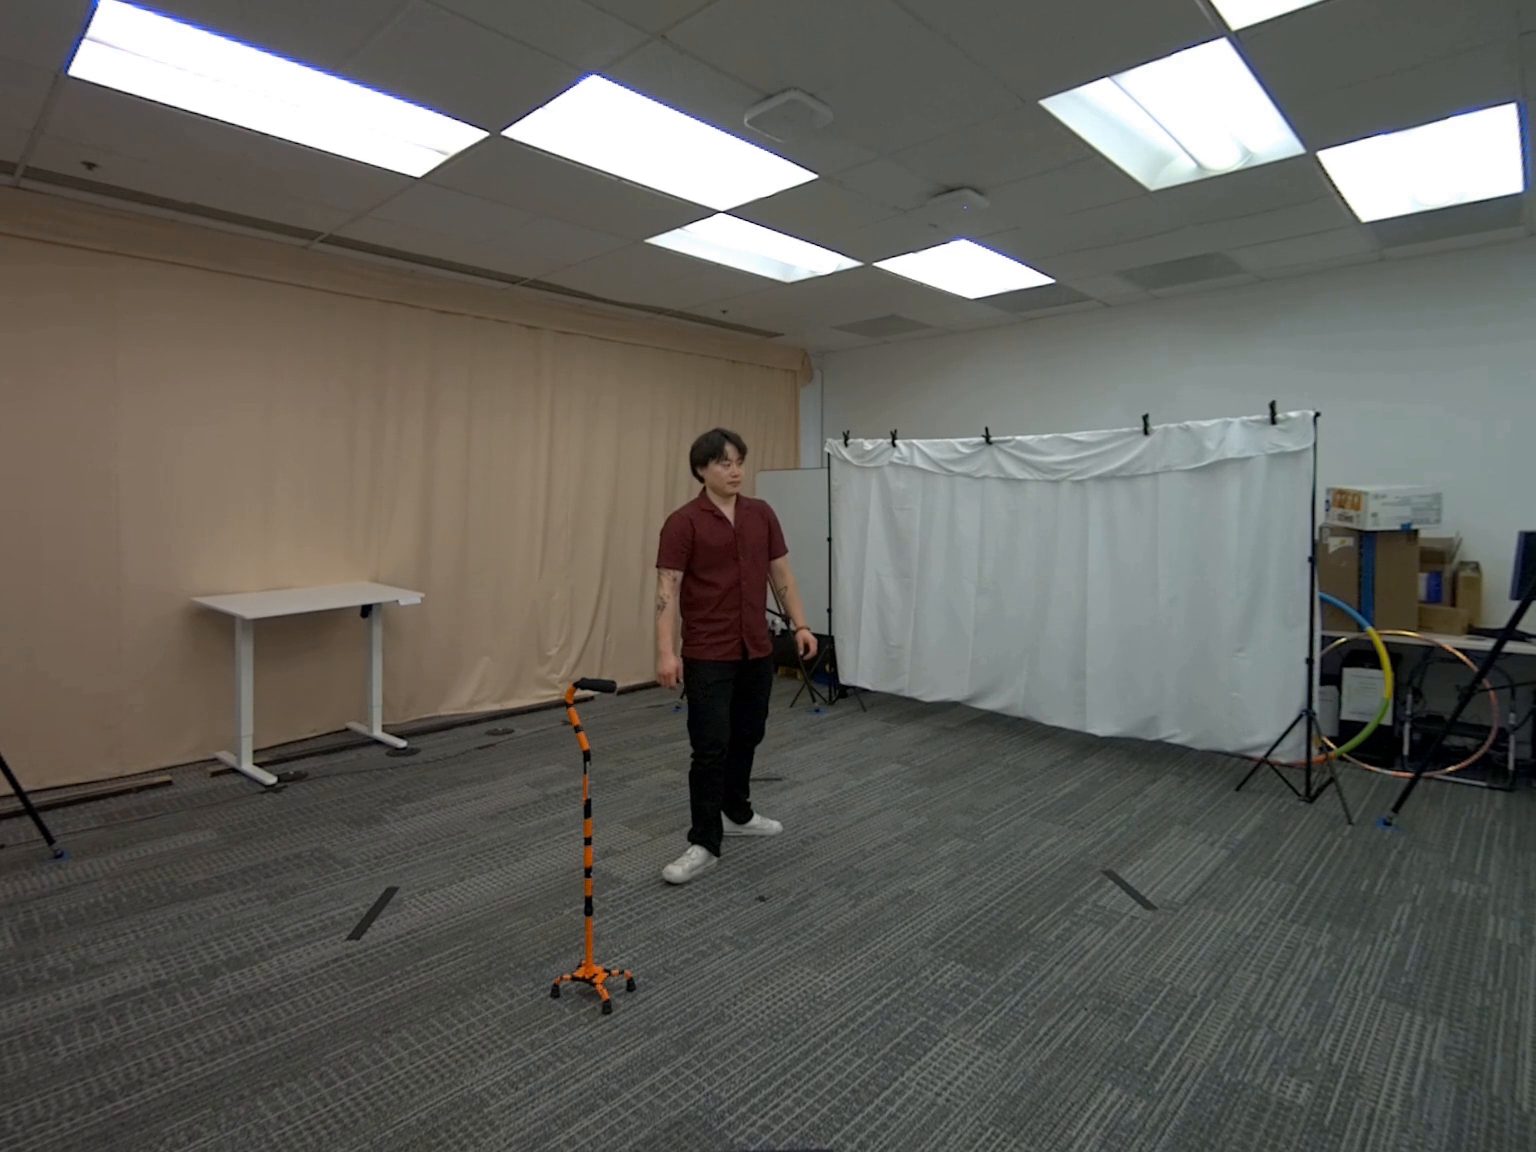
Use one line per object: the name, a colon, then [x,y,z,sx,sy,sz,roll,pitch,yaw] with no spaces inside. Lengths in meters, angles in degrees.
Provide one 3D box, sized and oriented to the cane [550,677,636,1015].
cane: [-0.507,0.747,2.390,0.211,0.906,0.148,0,3,24]
